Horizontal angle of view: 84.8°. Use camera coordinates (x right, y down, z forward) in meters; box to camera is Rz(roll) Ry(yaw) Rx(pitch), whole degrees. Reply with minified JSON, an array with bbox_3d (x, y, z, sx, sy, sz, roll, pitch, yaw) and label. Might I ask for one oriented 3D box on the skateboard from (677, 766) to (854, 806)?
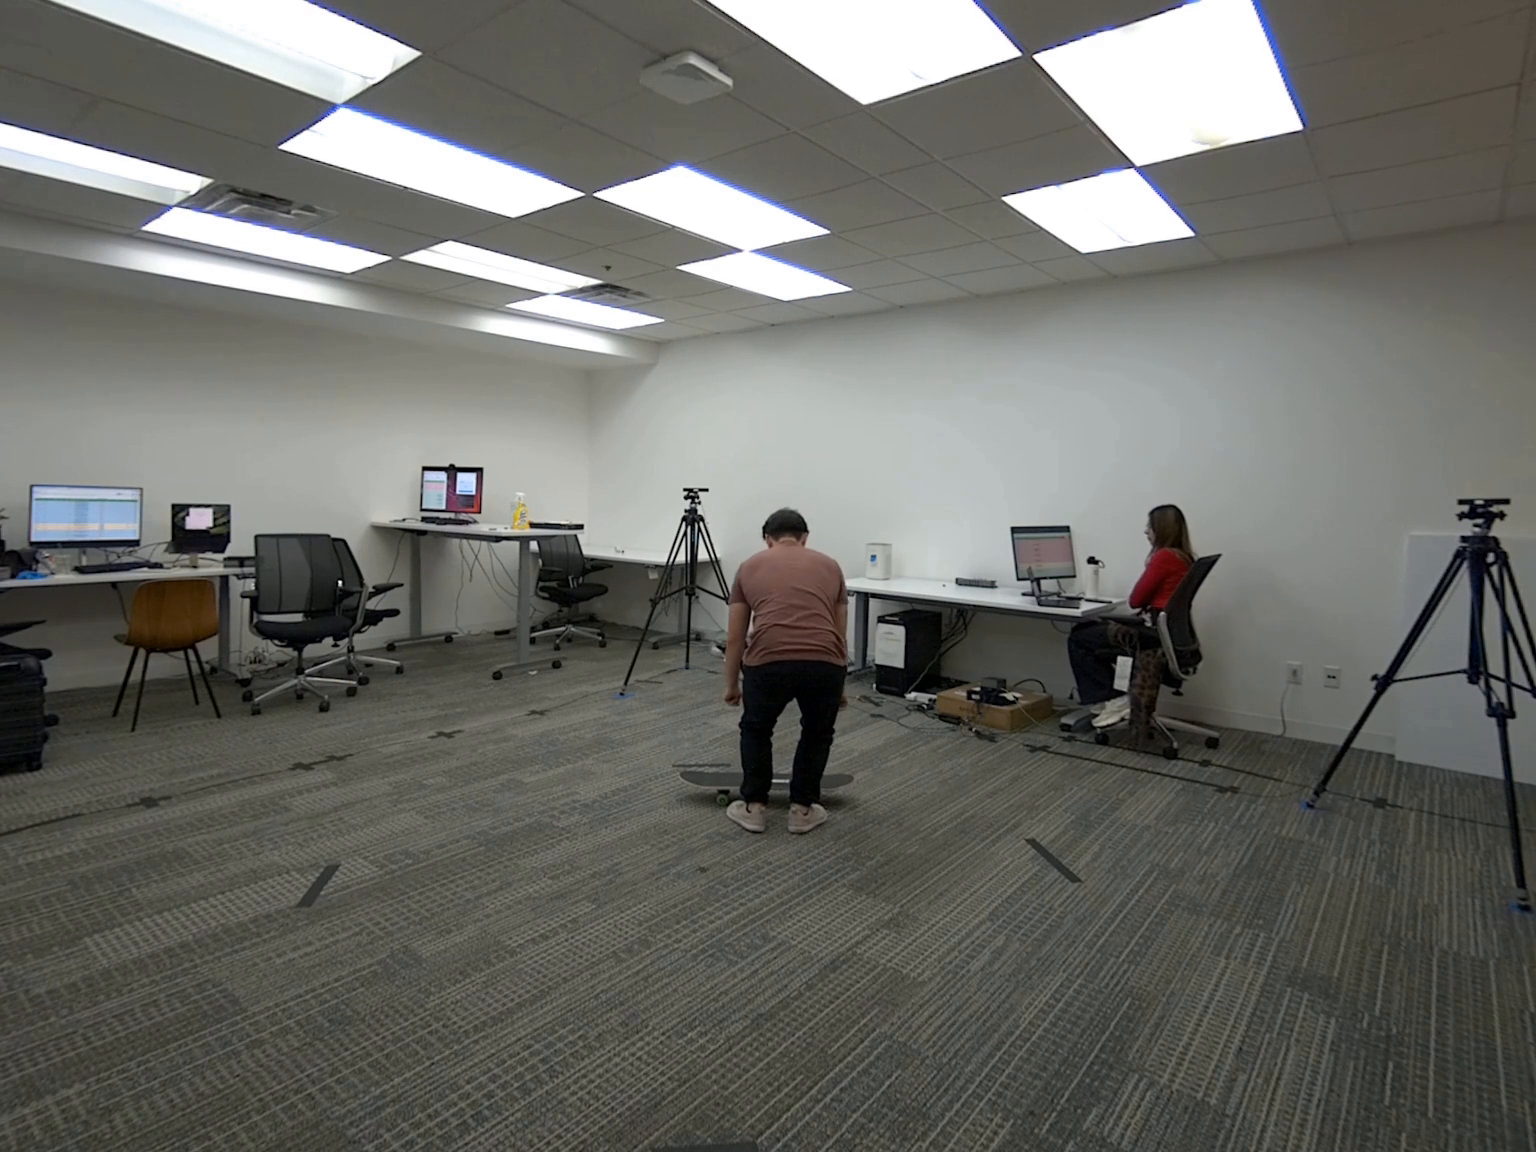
[{"bbox_3d":[-0.017,0.947,3.820,0.785,0.110,0.195,2,7,-1],"label":"skateboard"}]
